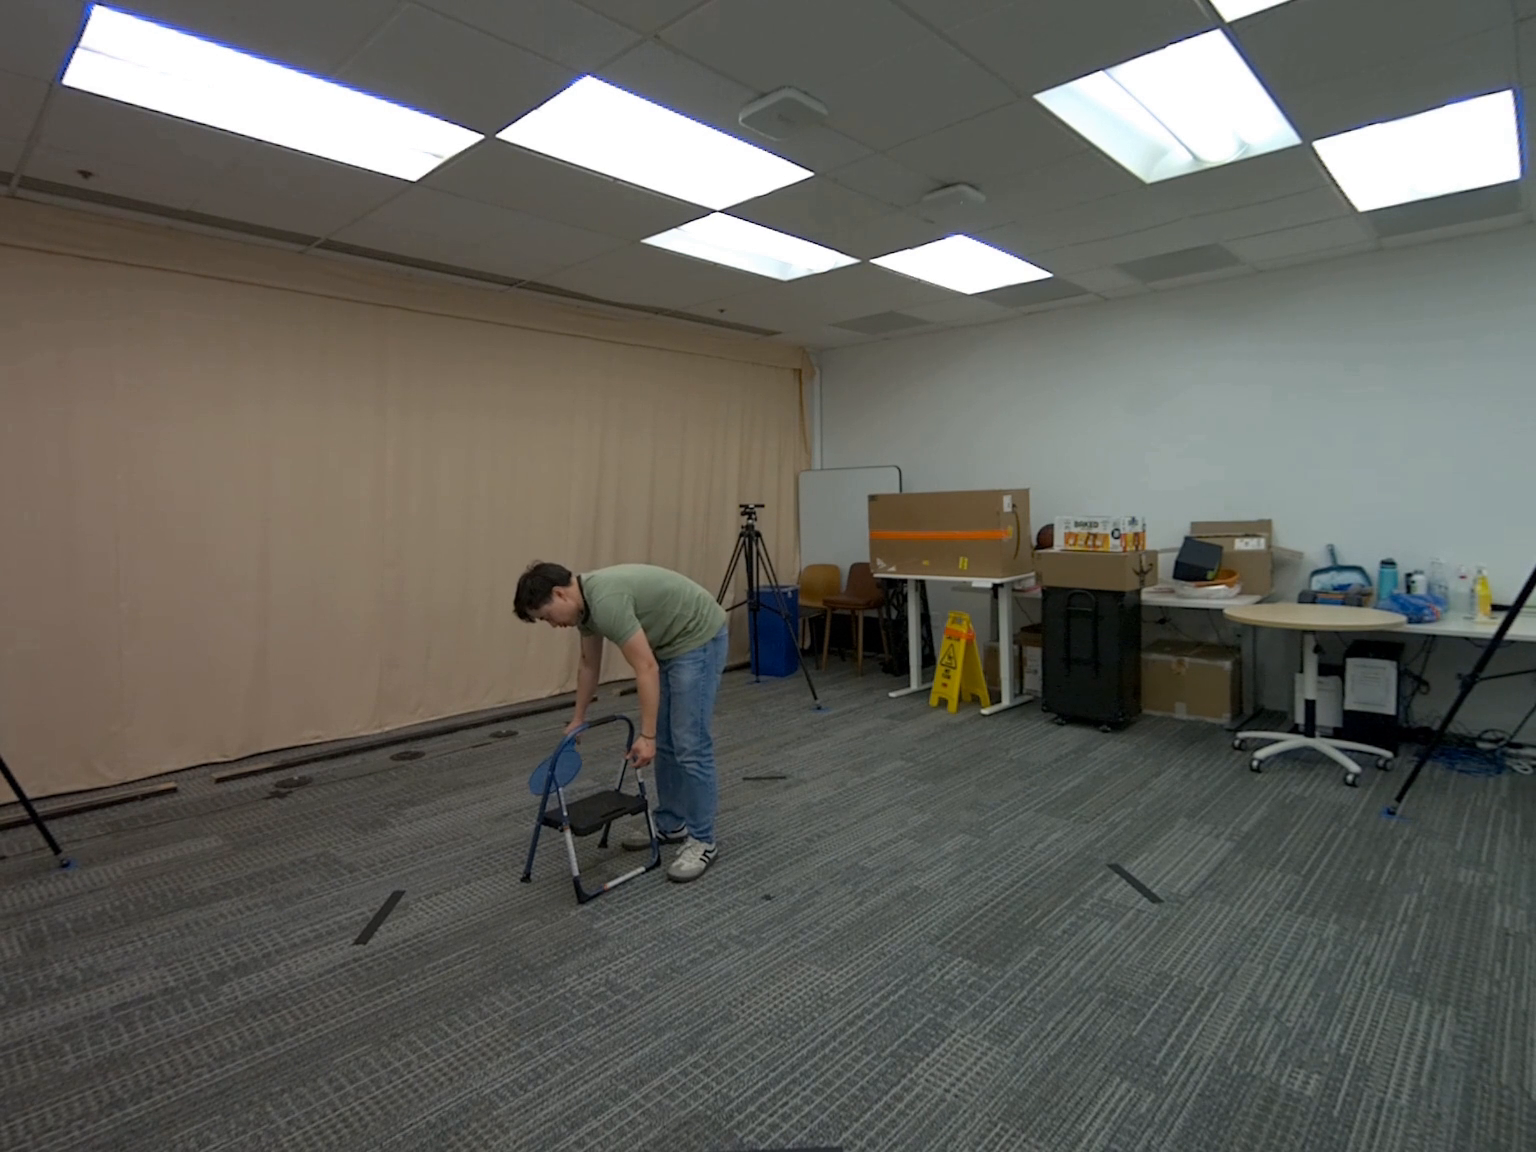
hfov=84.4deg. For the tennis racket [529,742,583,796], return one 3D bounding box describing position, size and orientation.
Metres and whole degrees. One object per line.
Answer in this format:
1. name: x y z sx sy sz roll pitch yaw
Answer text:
1. tennis racket: -0.831 0.763 3.425 0.217 0.031 0.435 -12 25 15
